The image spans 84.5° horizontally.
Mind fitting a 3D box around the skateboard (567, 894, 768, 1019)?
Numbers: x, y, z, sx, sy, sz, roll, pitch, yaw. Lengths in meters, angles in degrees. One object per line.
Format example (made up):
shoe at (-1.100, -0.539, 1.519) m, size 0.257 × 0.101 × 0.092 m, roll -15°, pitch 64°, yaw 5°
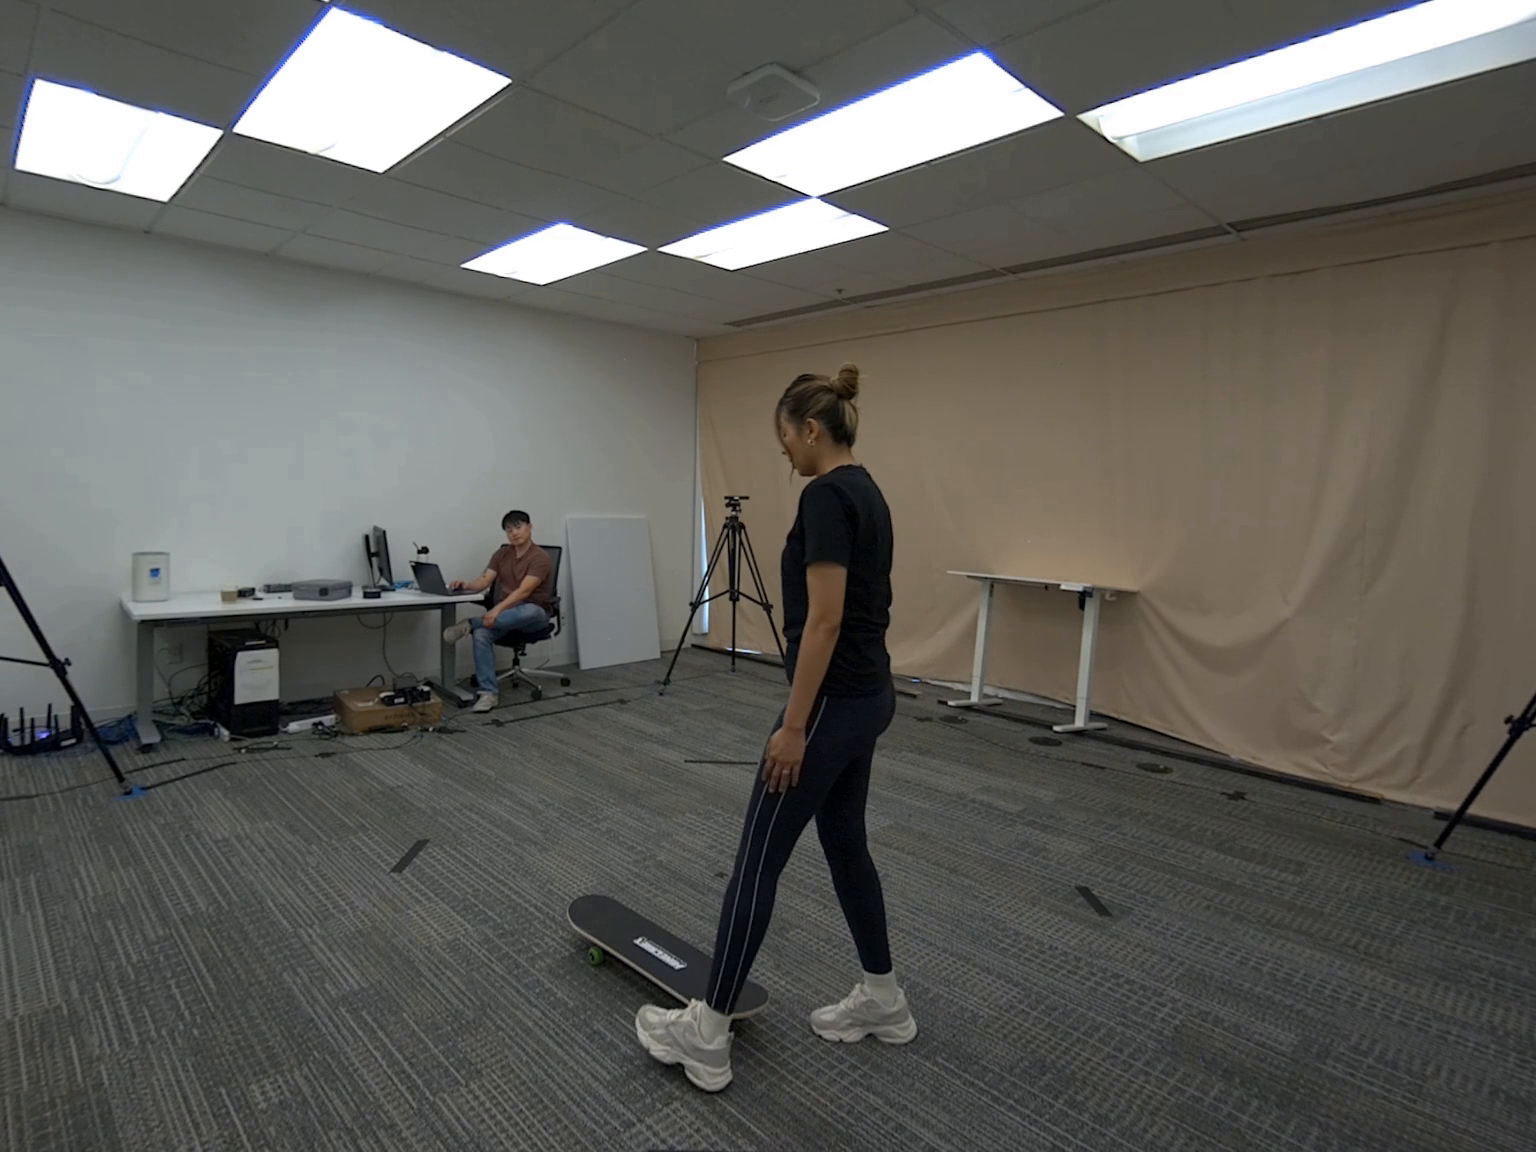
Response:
skateboard at (-0.321, 1.113, 2.405) m, size 0.806 × 0.110 × 0.189 m, roll 7°, pitch 6°, yaw 44°
